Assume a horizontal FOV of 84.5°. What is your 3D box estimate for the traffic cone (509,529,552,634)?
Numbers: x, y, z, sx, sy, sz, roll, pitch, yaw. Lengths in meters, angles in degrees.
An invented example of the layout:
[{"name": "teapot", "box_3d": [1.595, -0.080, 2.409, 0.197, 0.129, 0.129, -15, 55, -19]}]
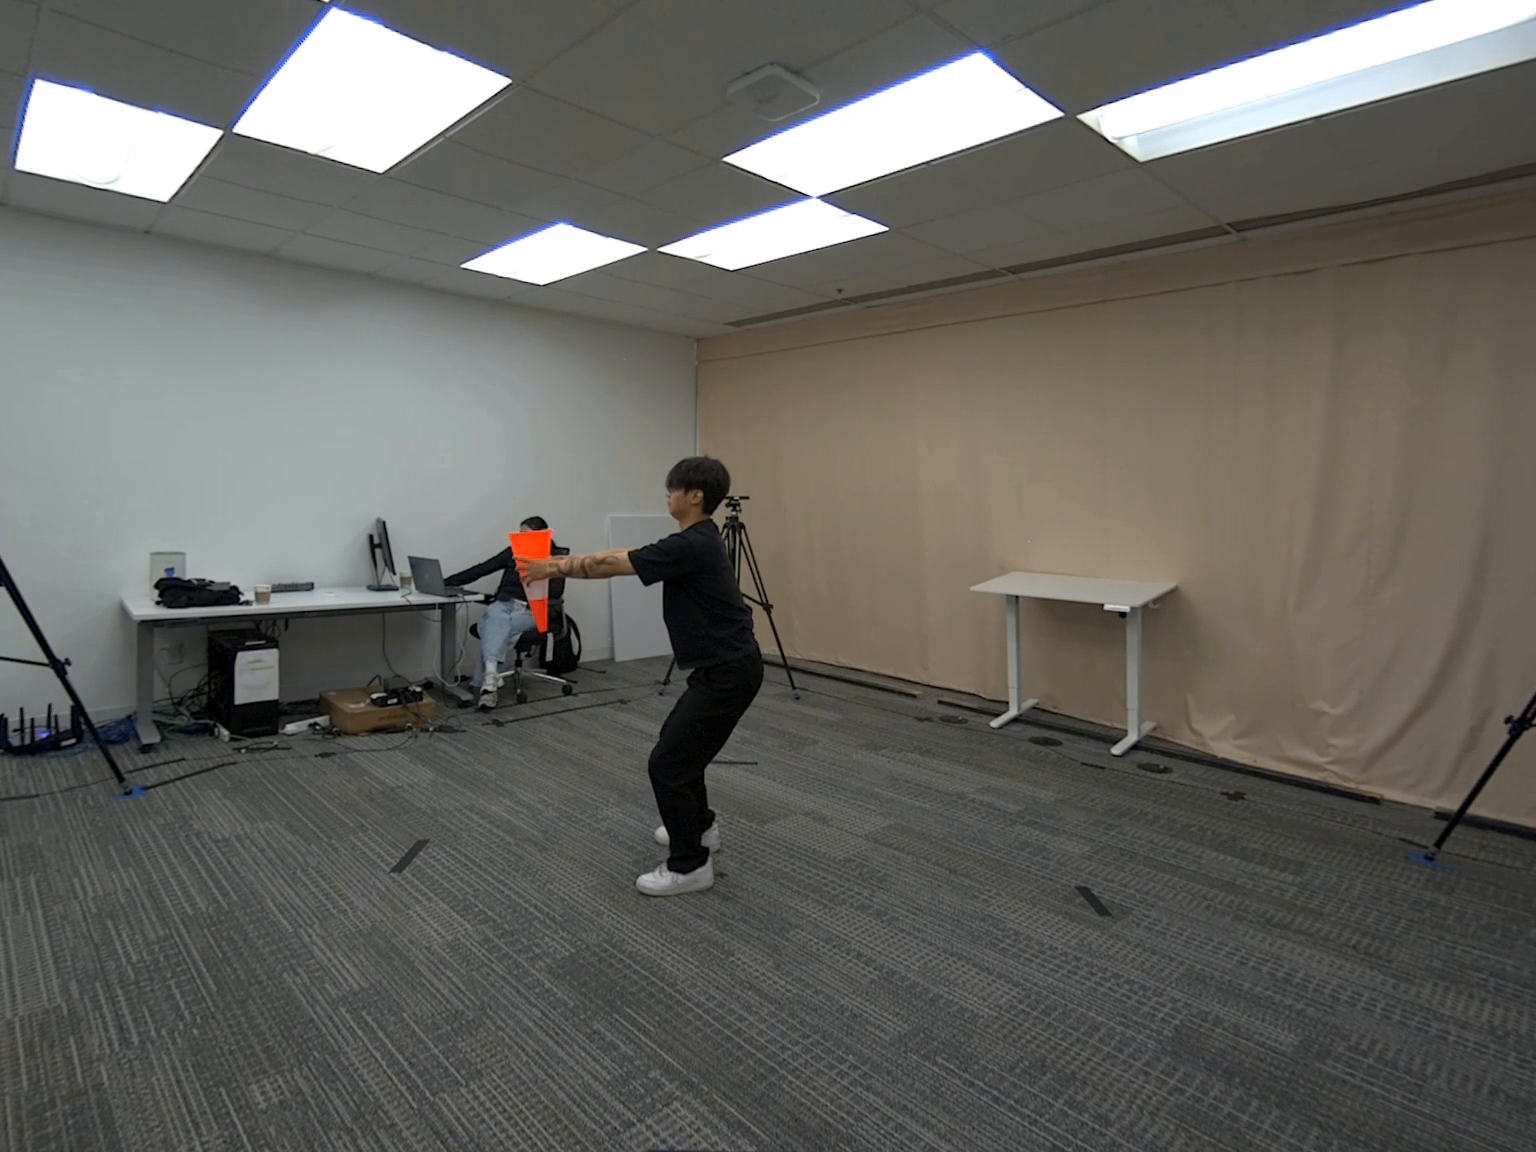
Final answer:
[{"name": "traffic cone", "box_3d": [-0.882, 0.027, 3.173, 0.202, 0.382, 0.207, -8, 6, -6]}]
